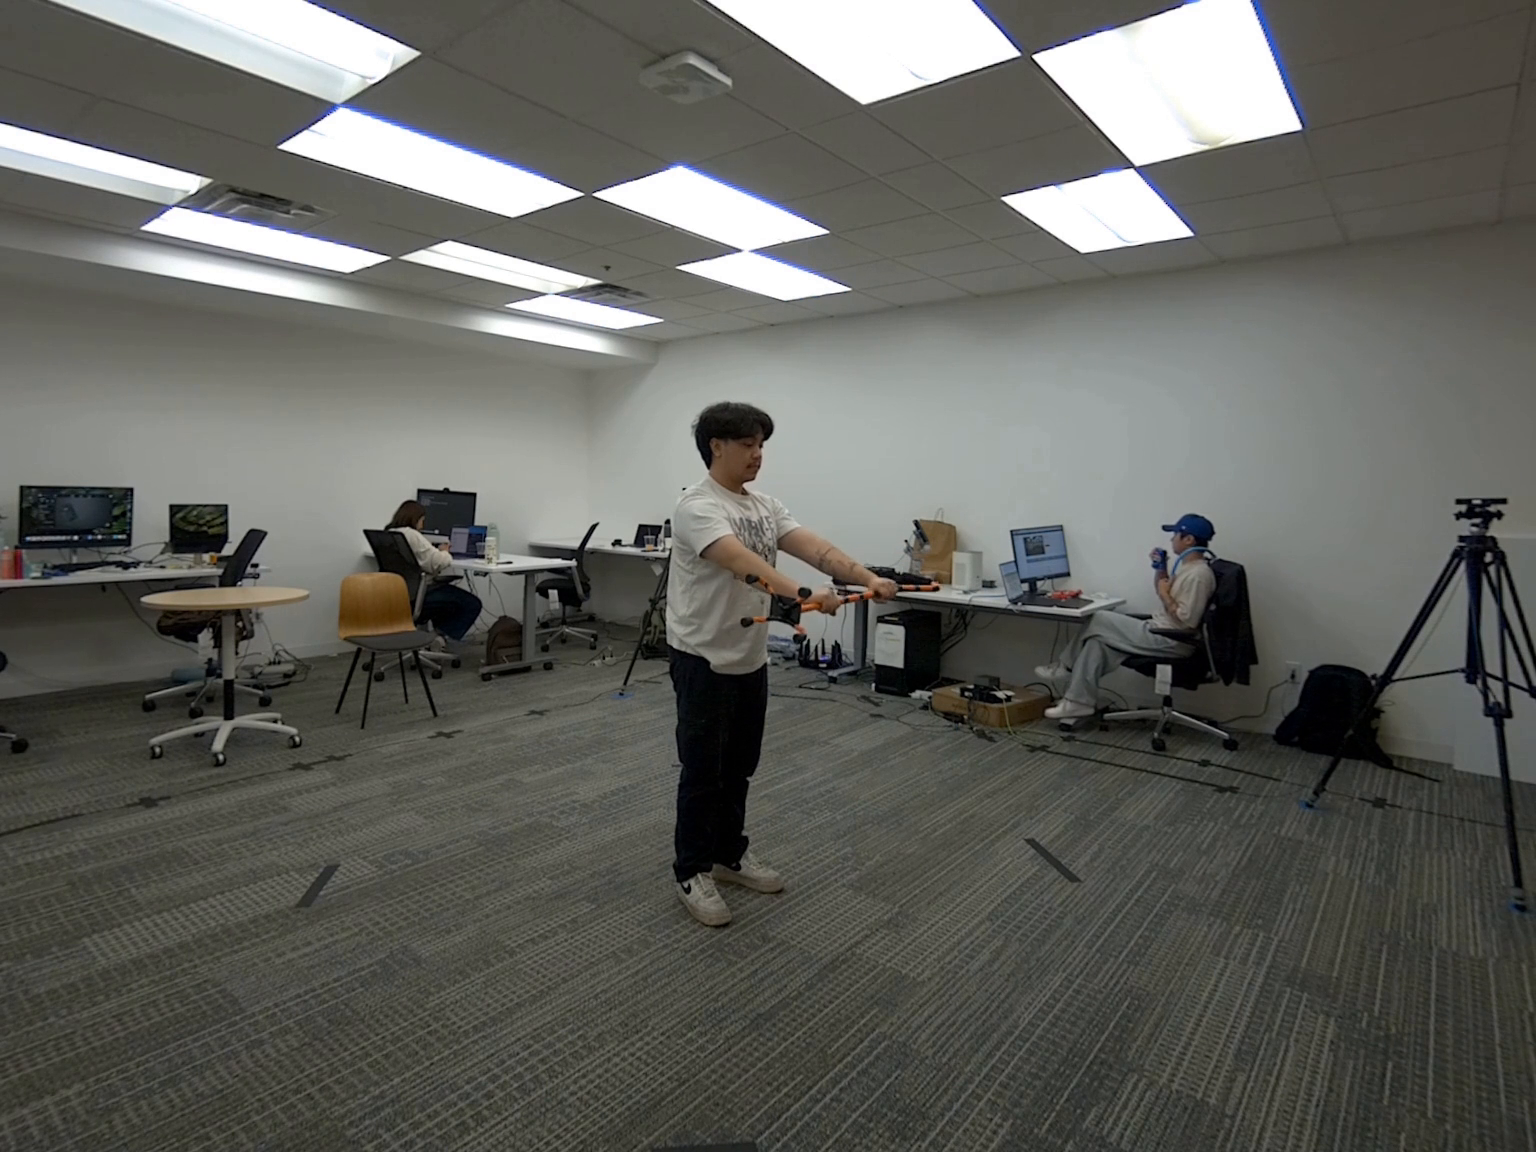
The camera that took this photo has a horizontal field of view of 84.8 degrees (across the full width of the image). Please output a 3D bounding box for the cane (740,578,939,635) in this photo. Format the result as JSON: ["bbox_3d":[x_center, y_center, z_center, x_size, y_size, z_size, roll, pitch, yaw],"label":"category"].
[{"bbox_3d":[0.276,0.042,2.597,0.214,0.150,0.882,13,13,38],"label":"cane"}]
